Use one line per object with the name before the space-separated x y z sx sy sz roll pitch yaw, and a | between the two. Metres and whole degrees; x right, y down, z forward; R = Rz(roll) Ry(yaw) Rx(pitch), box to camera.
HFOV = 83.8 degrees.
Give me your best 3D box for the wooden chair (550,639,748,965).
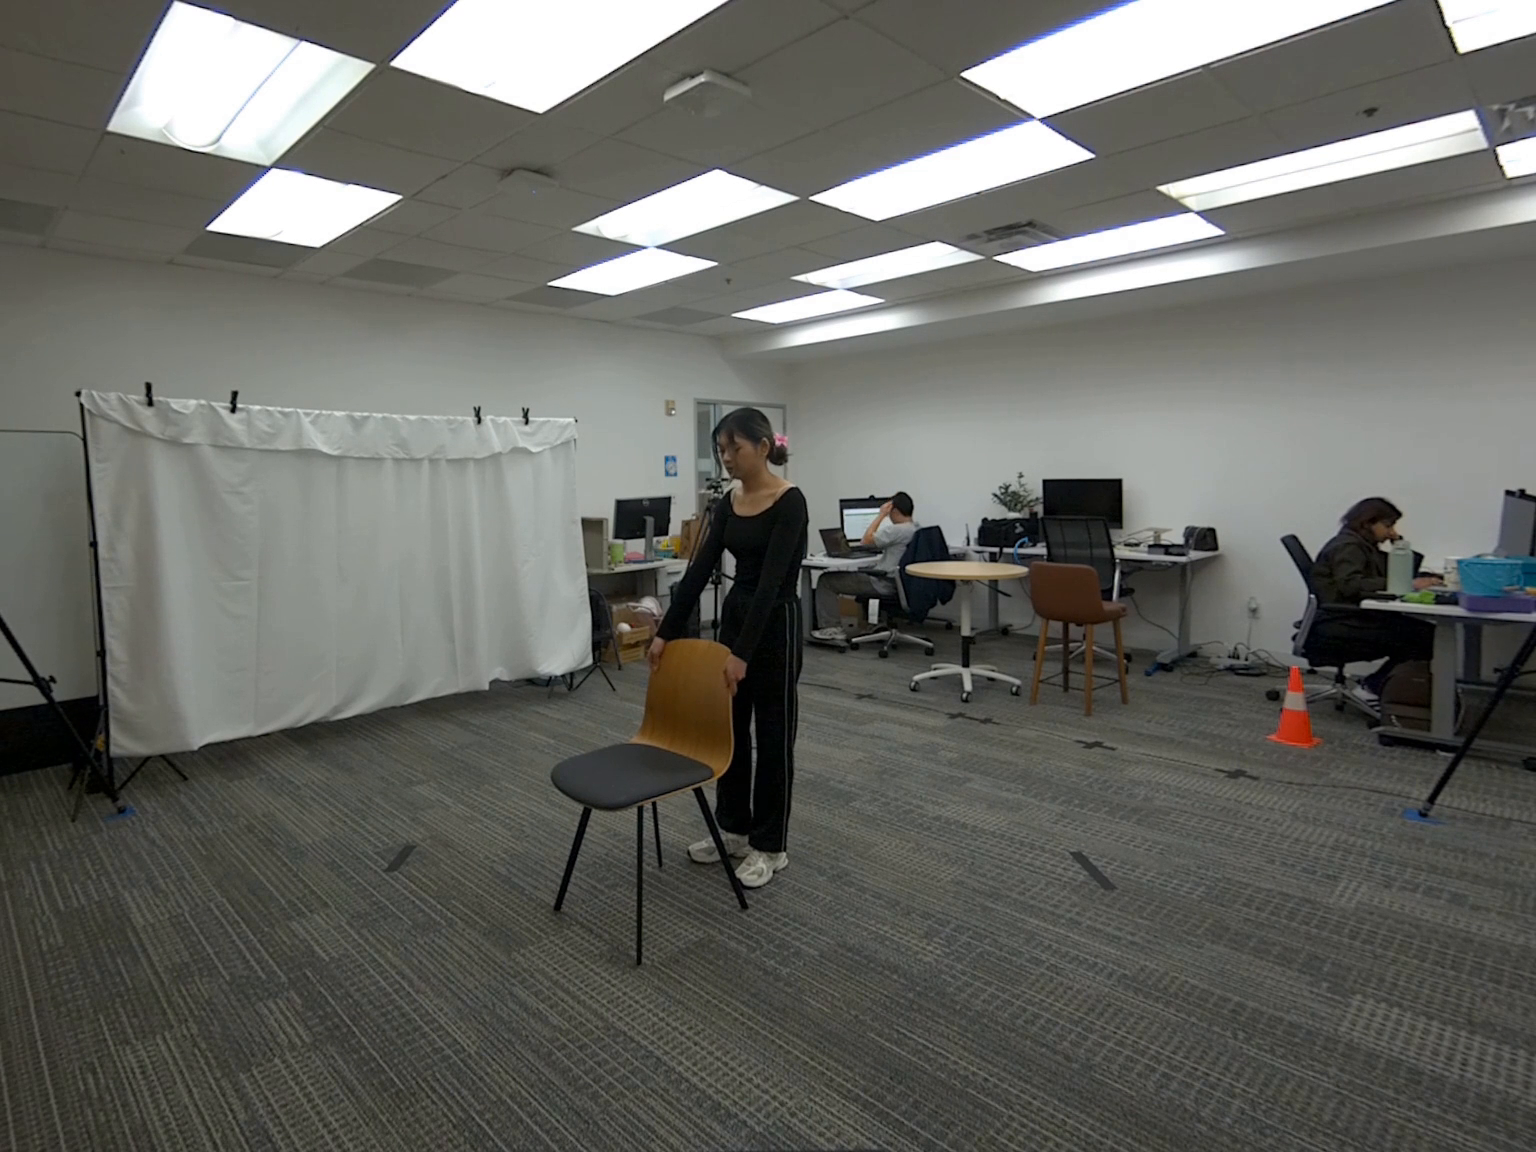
wooden chair | -0.394 0.667 2.734 0.508 0.876 0.493 1 2 -44
